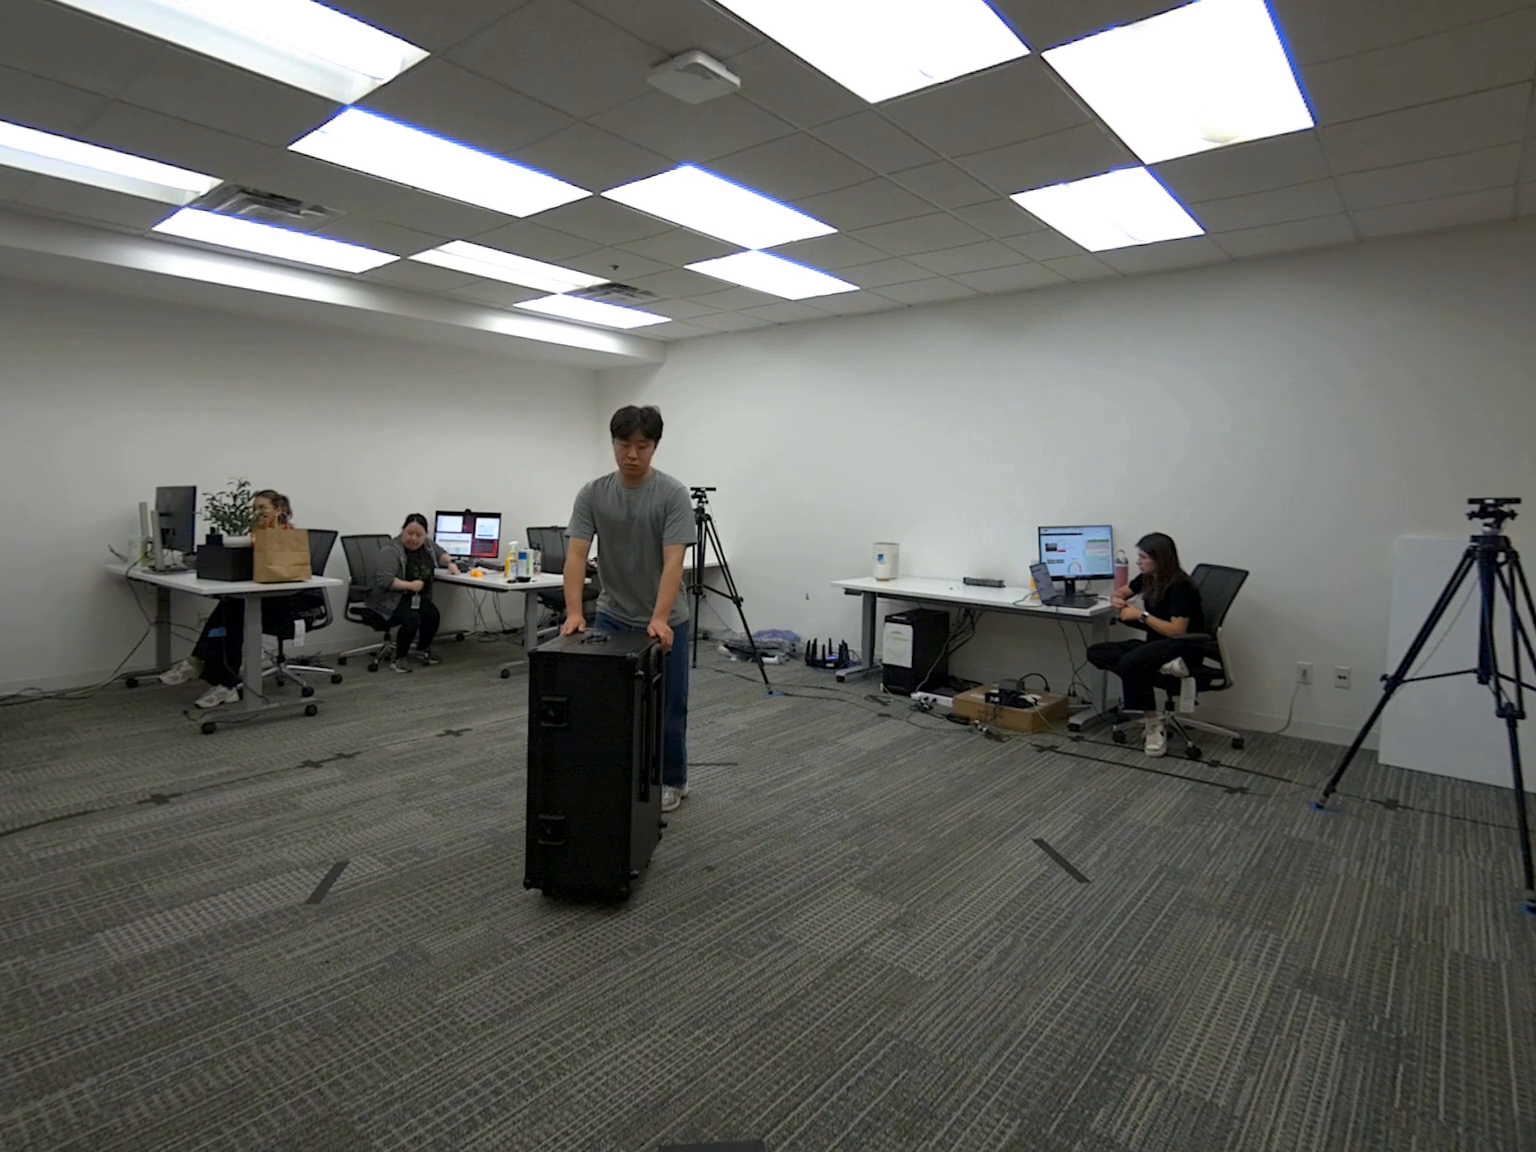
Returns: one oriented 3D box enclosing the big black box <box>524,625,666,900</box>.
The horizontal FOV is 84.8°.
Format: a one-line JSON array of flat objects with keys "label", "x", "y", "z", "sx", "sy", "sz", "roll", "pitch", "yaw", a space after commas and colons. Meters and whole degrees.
[{"label": "big black box", "x": -0.596, "y": 0.648, "z": 2.976, "sx": 0.400, "sy": 0.859, "sz": 0.518, "roll": 2, "pitch": 3, "yaw": 7}]
